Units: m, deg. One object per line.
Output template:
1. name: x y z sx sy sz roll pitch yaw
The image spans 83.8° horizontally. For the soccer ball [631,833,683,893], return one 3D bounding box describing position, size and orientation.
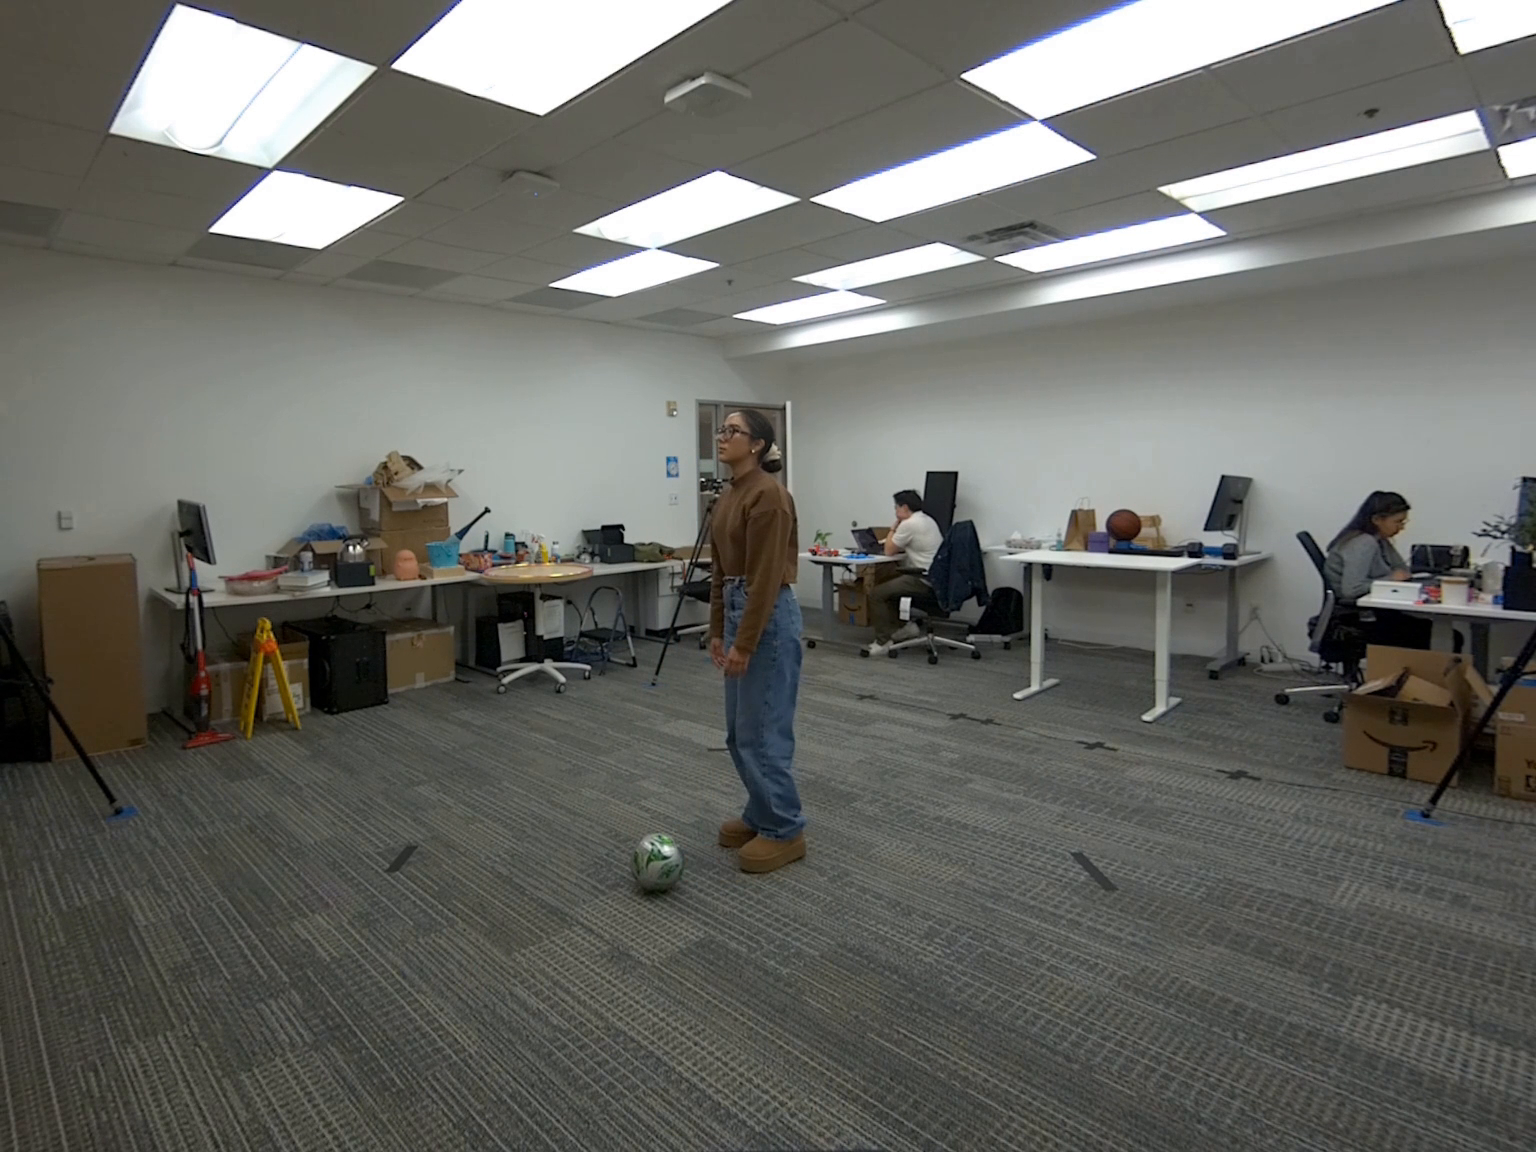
1. soccer ball: -0.372 0.978 2.915 0.187 0.187 0.188 -1 5 -2
